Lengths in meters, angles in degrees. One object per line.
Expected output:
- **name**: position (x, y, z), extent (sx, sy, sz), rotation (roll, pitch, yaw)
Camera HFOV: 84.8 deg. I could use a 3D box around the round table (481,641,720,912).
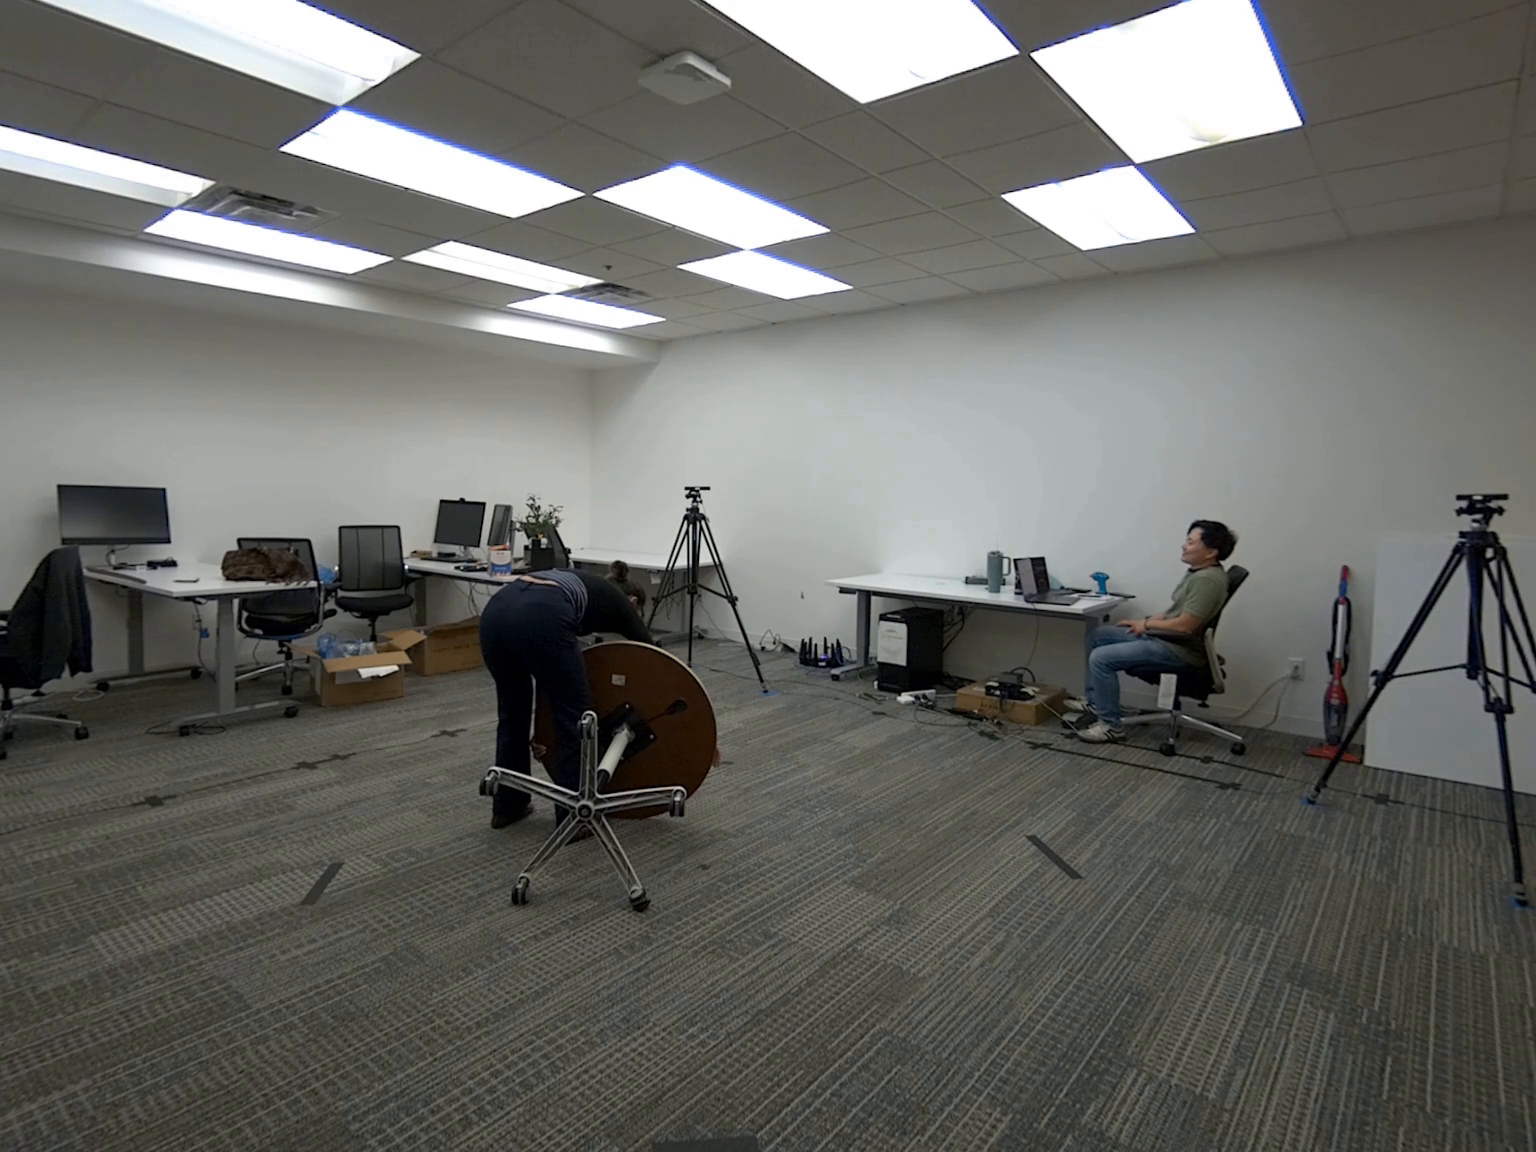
- **round table**: position (-0.612, 0.722, 3.134), extent (0.767, 0.757, 0.799), rotation (1, 11, 3)
